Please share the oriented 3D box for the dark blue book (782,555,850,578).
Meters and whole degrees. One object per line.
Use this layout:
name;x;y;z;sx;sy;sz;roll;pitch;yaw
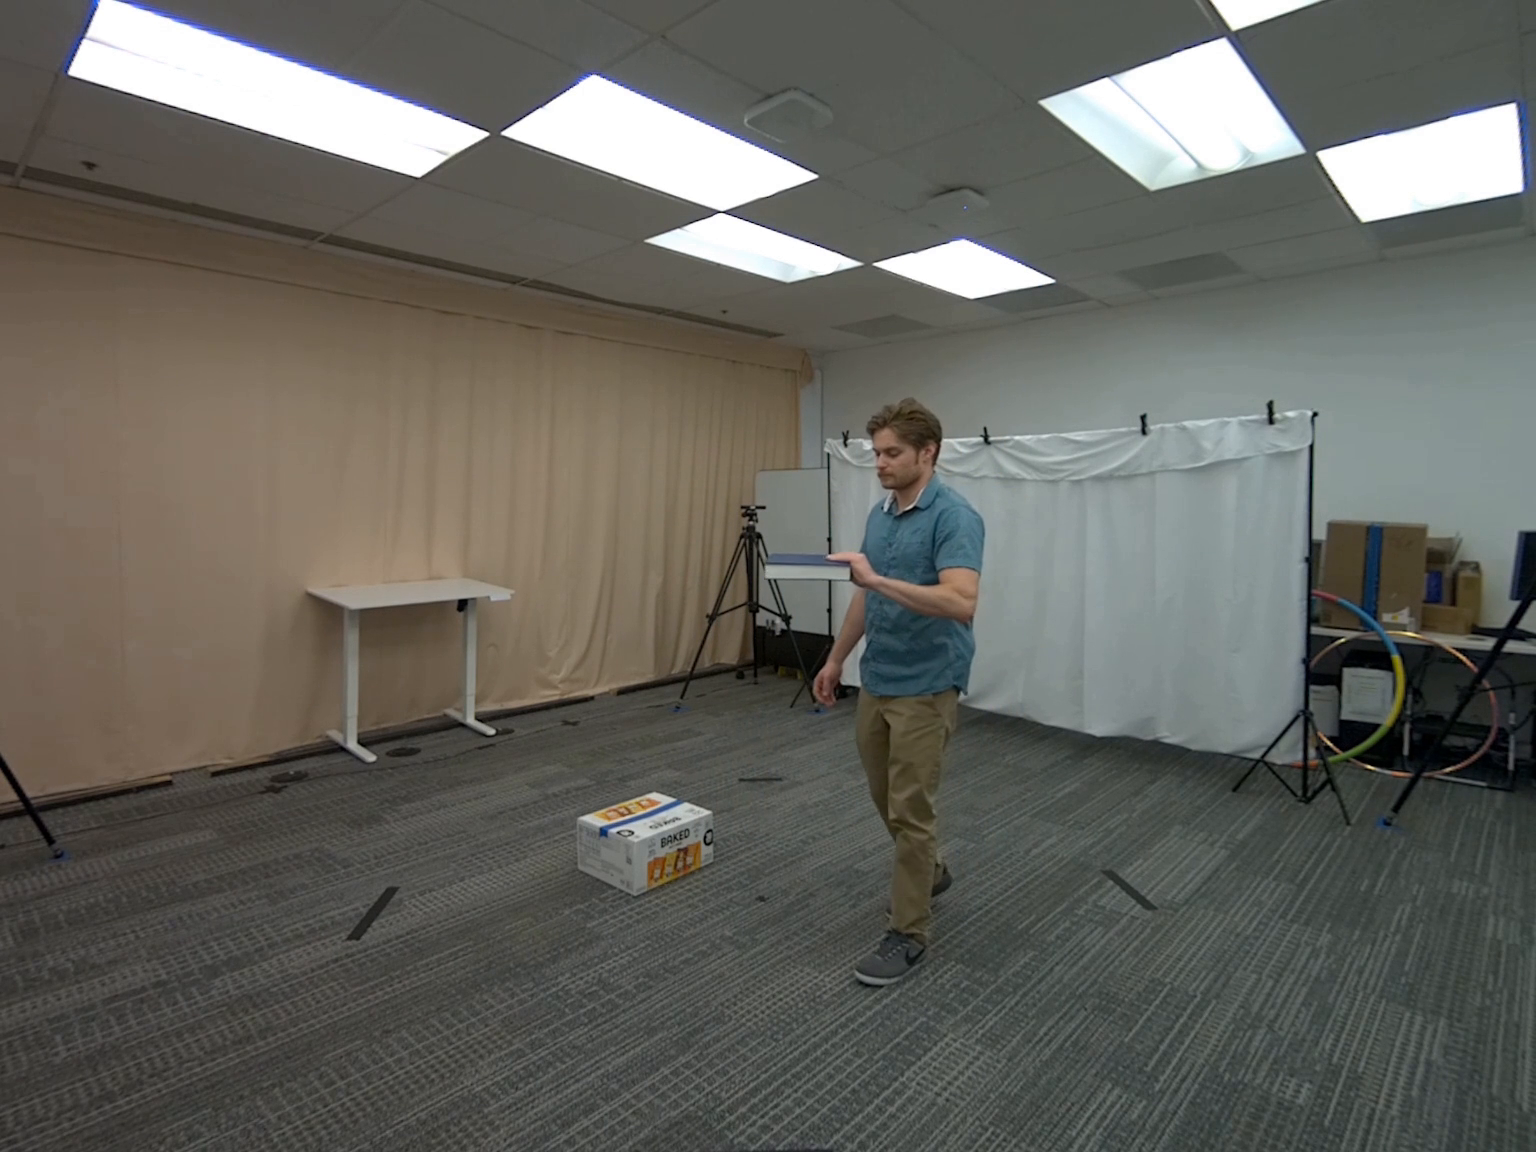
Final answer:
dark blue book;0.165;-0.029;2.389;0.247;0.045;0.163;0;6;6
